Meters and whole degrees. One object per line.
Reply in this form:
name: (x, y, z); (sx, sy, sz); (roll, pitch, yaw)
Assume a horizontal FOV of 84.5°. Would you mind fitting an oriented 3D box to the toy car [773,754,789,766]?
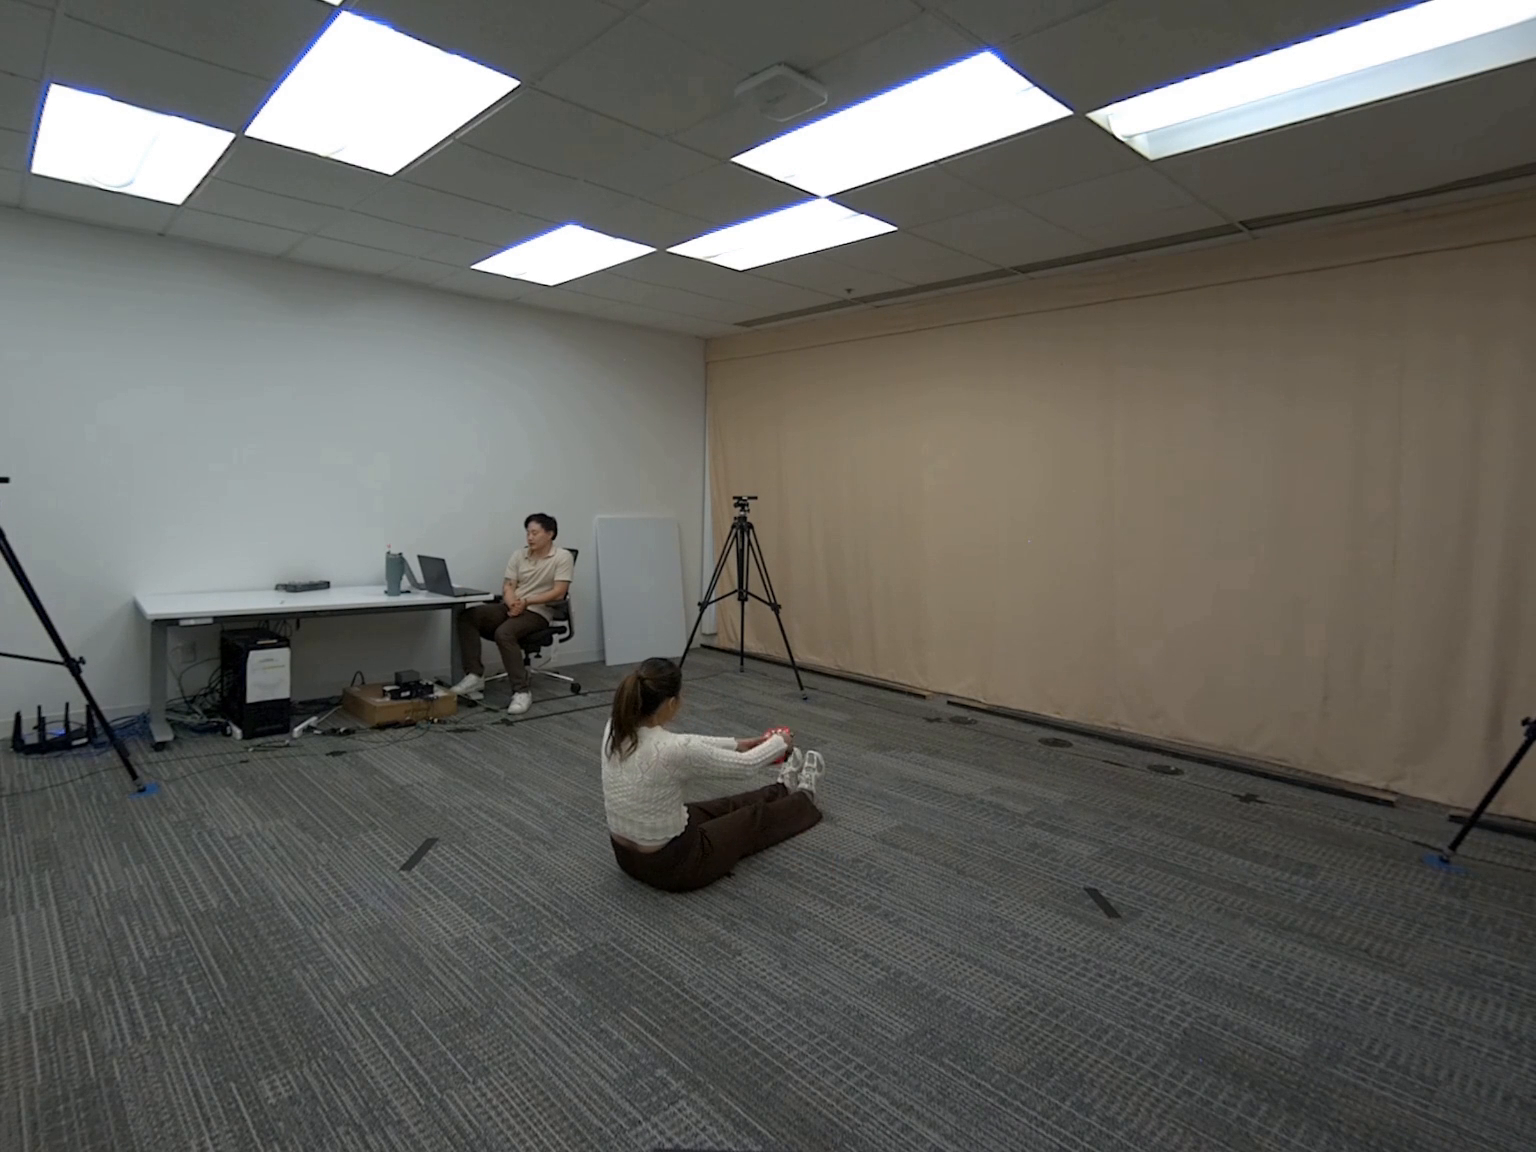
toy car: (0.012, 0.700, 3.372); (0.131, 0.082, 0.254); (-9, 9, 13)
